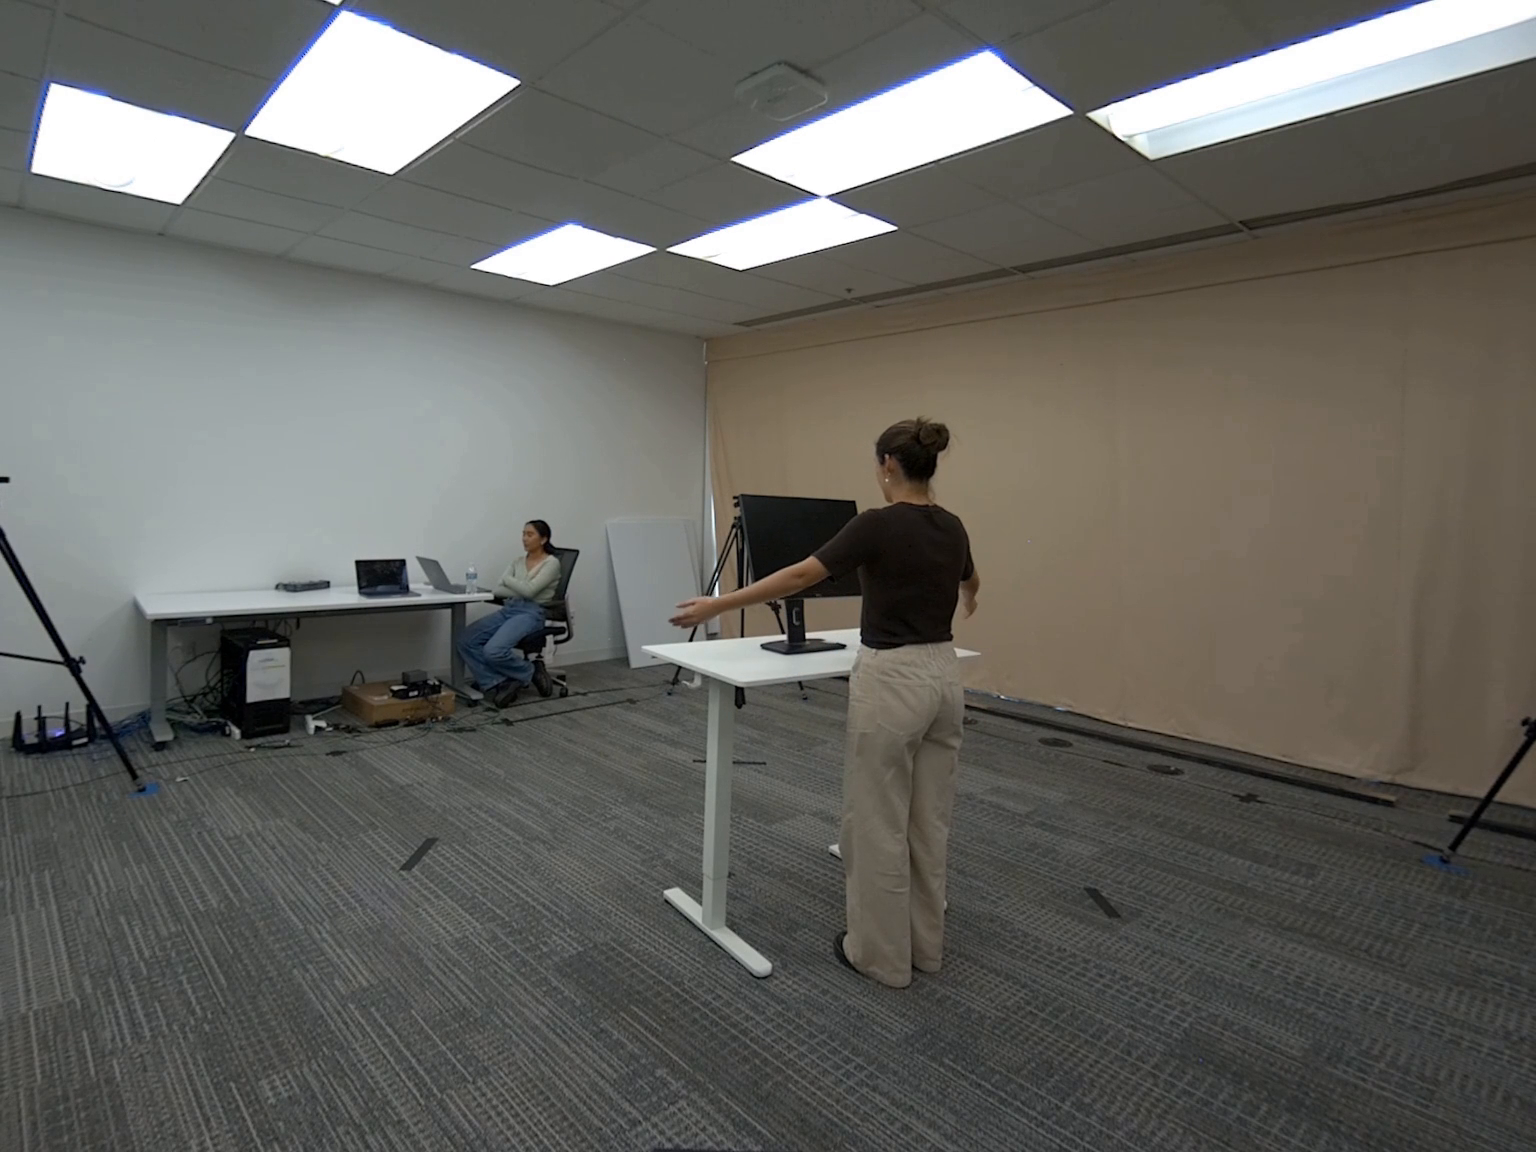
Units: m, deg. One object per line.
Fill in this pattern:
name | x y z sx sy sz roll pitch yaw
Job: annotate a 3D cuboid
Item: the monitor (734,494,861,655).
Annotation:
monitor | 0.112 -0.006 2.868 0.526 0.523 0.191 0 0 -42
